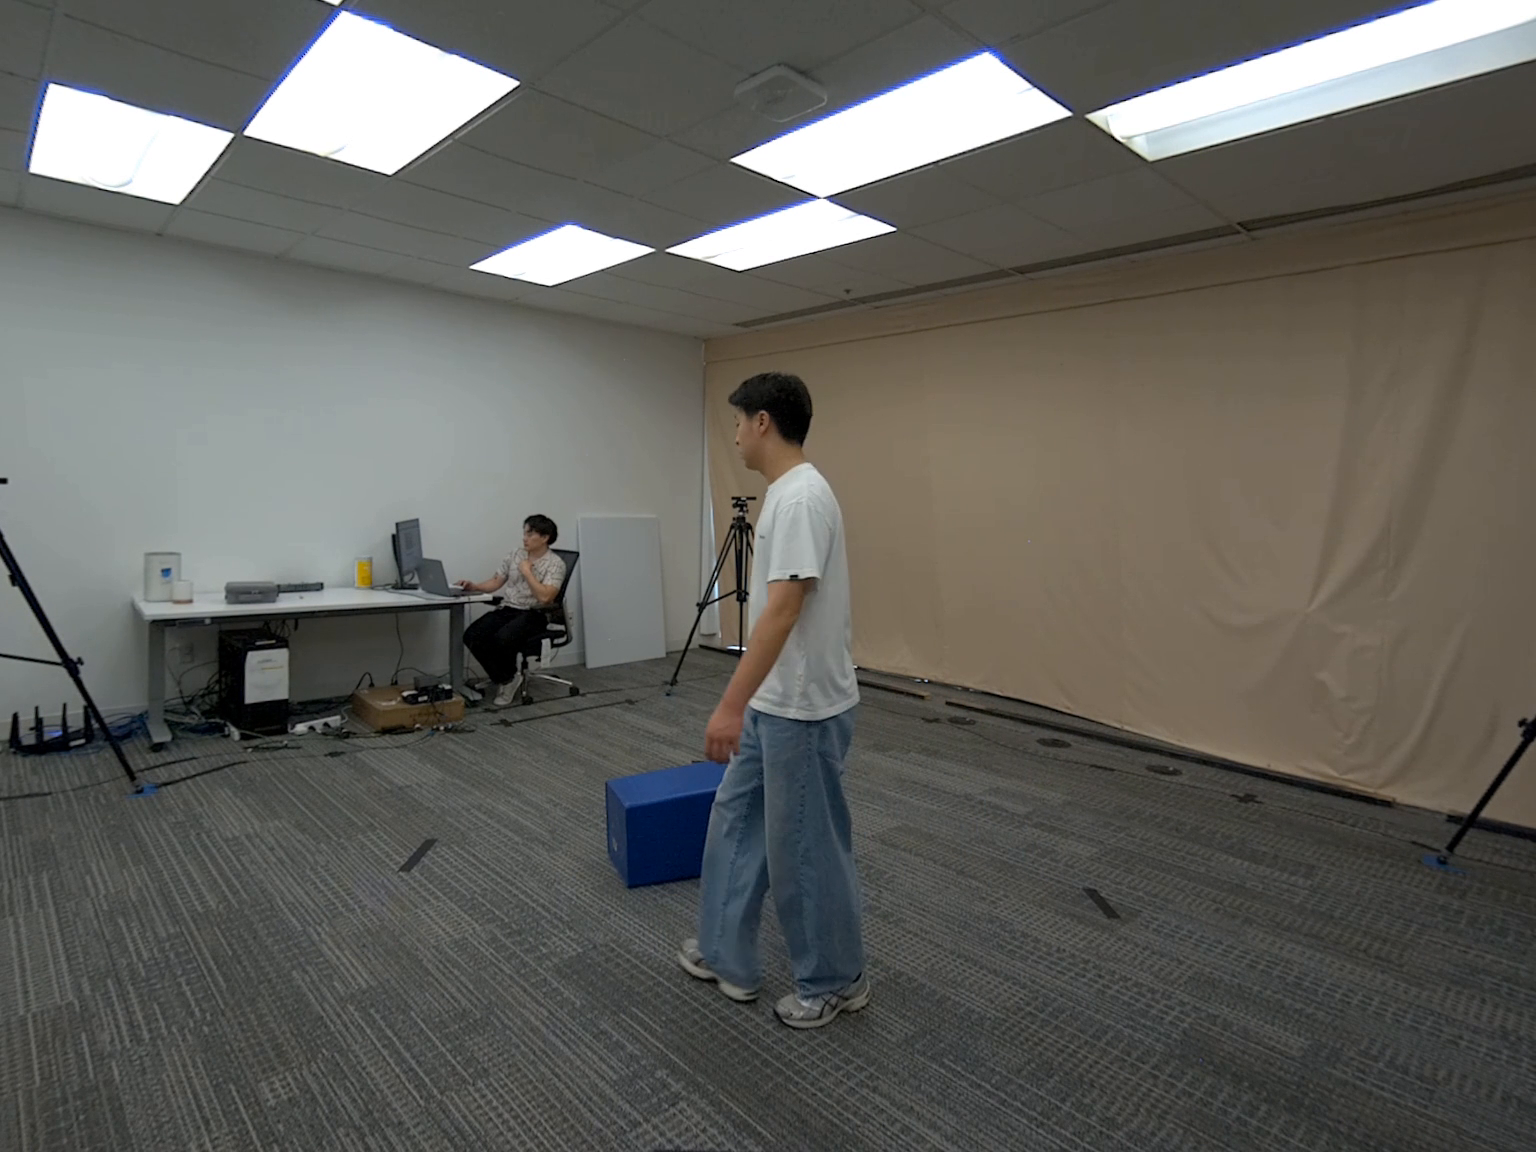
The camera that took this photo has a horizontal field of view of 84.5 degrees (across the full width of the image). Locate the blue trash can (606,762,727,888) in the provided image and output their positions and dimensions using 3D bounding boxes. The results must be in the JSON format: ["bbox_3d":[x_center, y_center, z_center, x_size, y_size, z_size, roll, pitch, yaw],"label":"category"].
[{"bbox_3d":[-0.239,0.932,3.226,0.702,0.377,0.381,-4,6,-23],"label":"blue trash can"}]
